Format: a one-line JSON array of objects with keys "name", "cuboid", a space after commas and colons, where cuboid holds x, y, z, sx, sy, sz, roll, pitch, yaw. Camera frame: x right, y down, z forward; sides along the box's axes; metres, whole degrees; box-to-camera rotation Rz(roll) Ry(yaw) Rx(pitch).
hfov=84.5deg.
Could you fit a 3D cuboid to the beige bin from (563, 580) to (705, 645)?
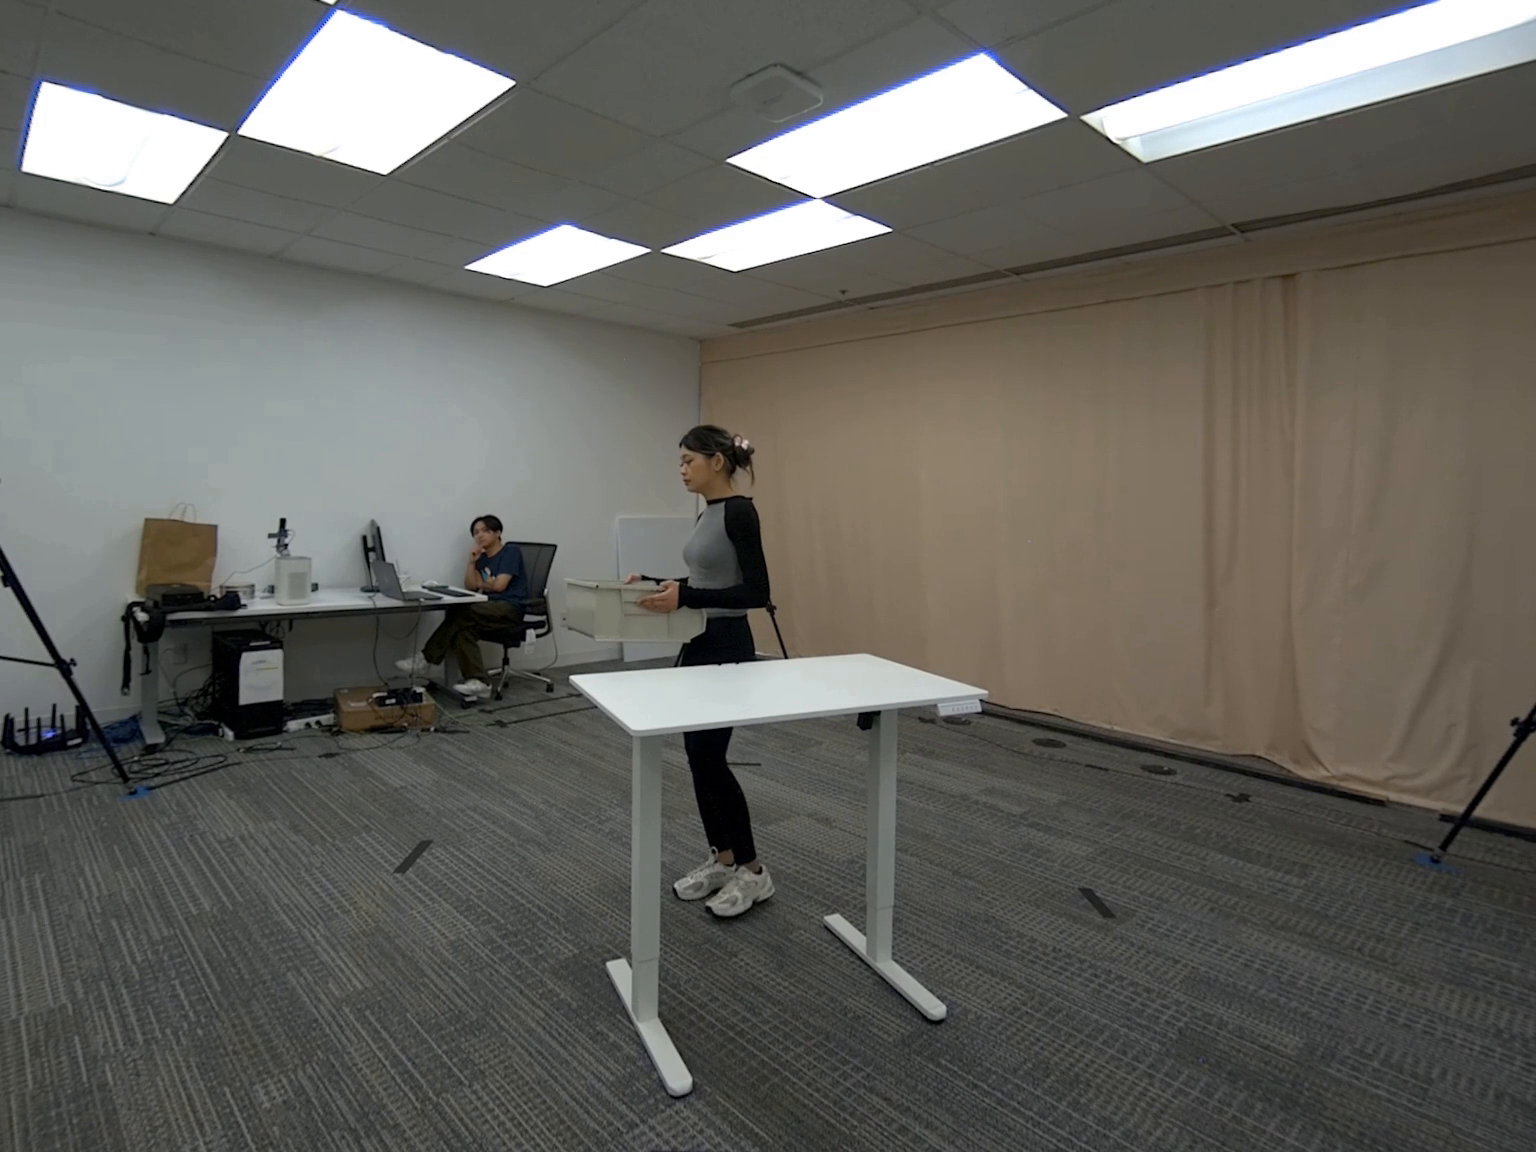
[{"name": "beige bin", "cuboid": [-0.461, 0.112, 2.844, 0.370, 0.189, 0.430, 0, 3, -25]}]
